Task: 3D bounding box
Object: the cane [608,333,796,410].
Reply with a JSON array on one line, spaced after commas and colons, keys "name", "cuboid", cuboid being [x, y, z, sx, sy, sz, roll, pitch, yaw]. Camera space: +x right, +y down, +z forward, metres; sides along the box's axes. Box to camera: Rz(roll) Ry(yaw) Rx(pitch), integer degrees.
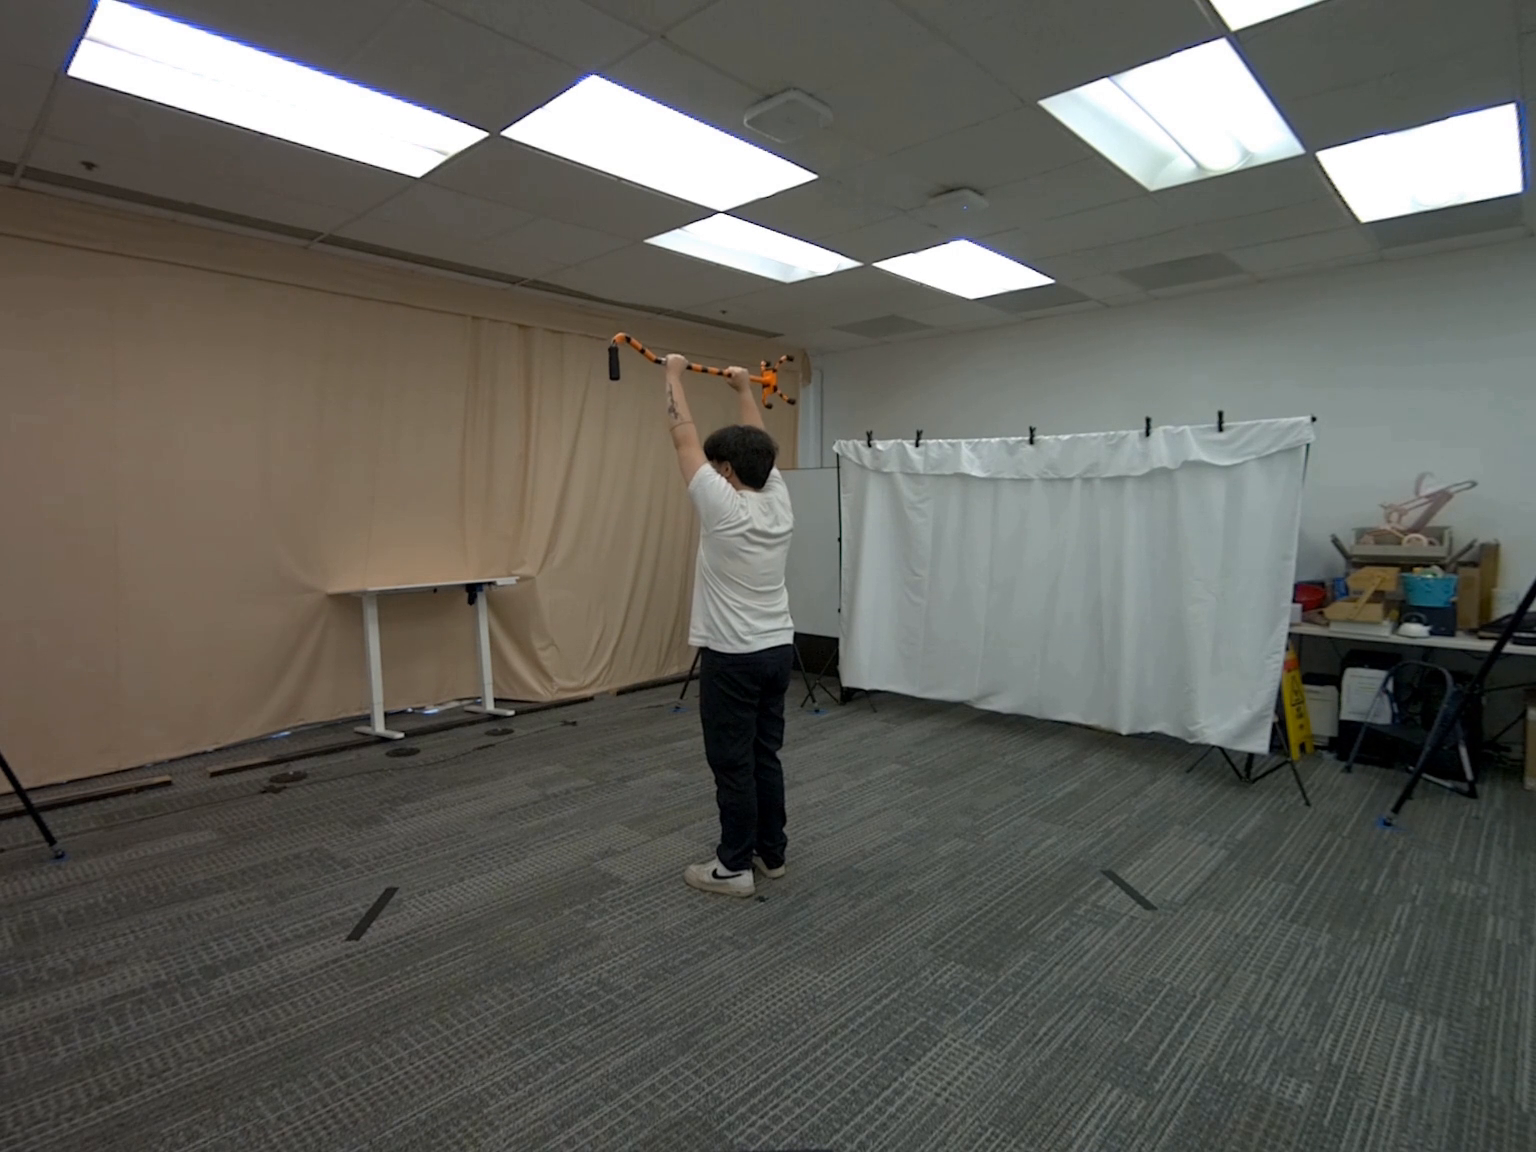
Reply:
[{"name": "cane", "cuboid": [-0.238, -0.777, 3.151, 0.156, 0.206, 0.880, -4, 1, 41]}]
